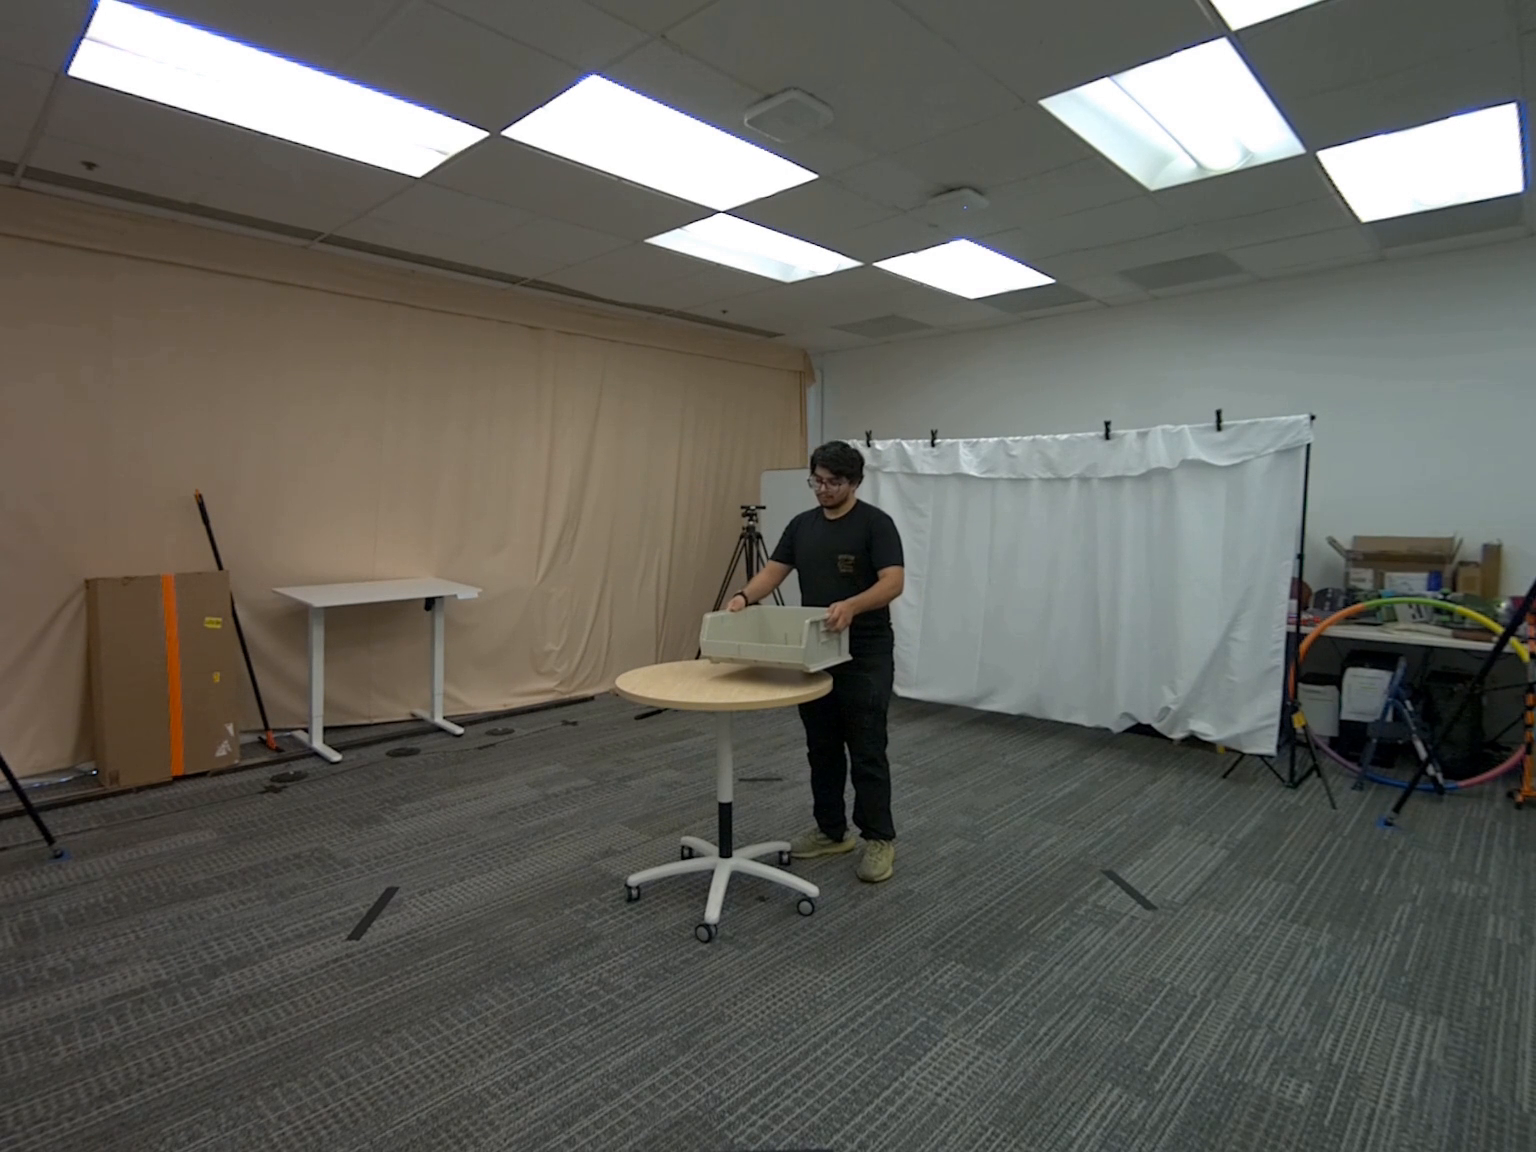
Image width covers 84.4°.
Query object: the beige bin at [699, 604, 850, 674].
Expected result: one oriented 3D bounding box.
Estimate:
[{"bbox_3d":[0.041,0.217,2.995,0.435,0.189,0.366,1,3,33],"label":"beige bin"}]
